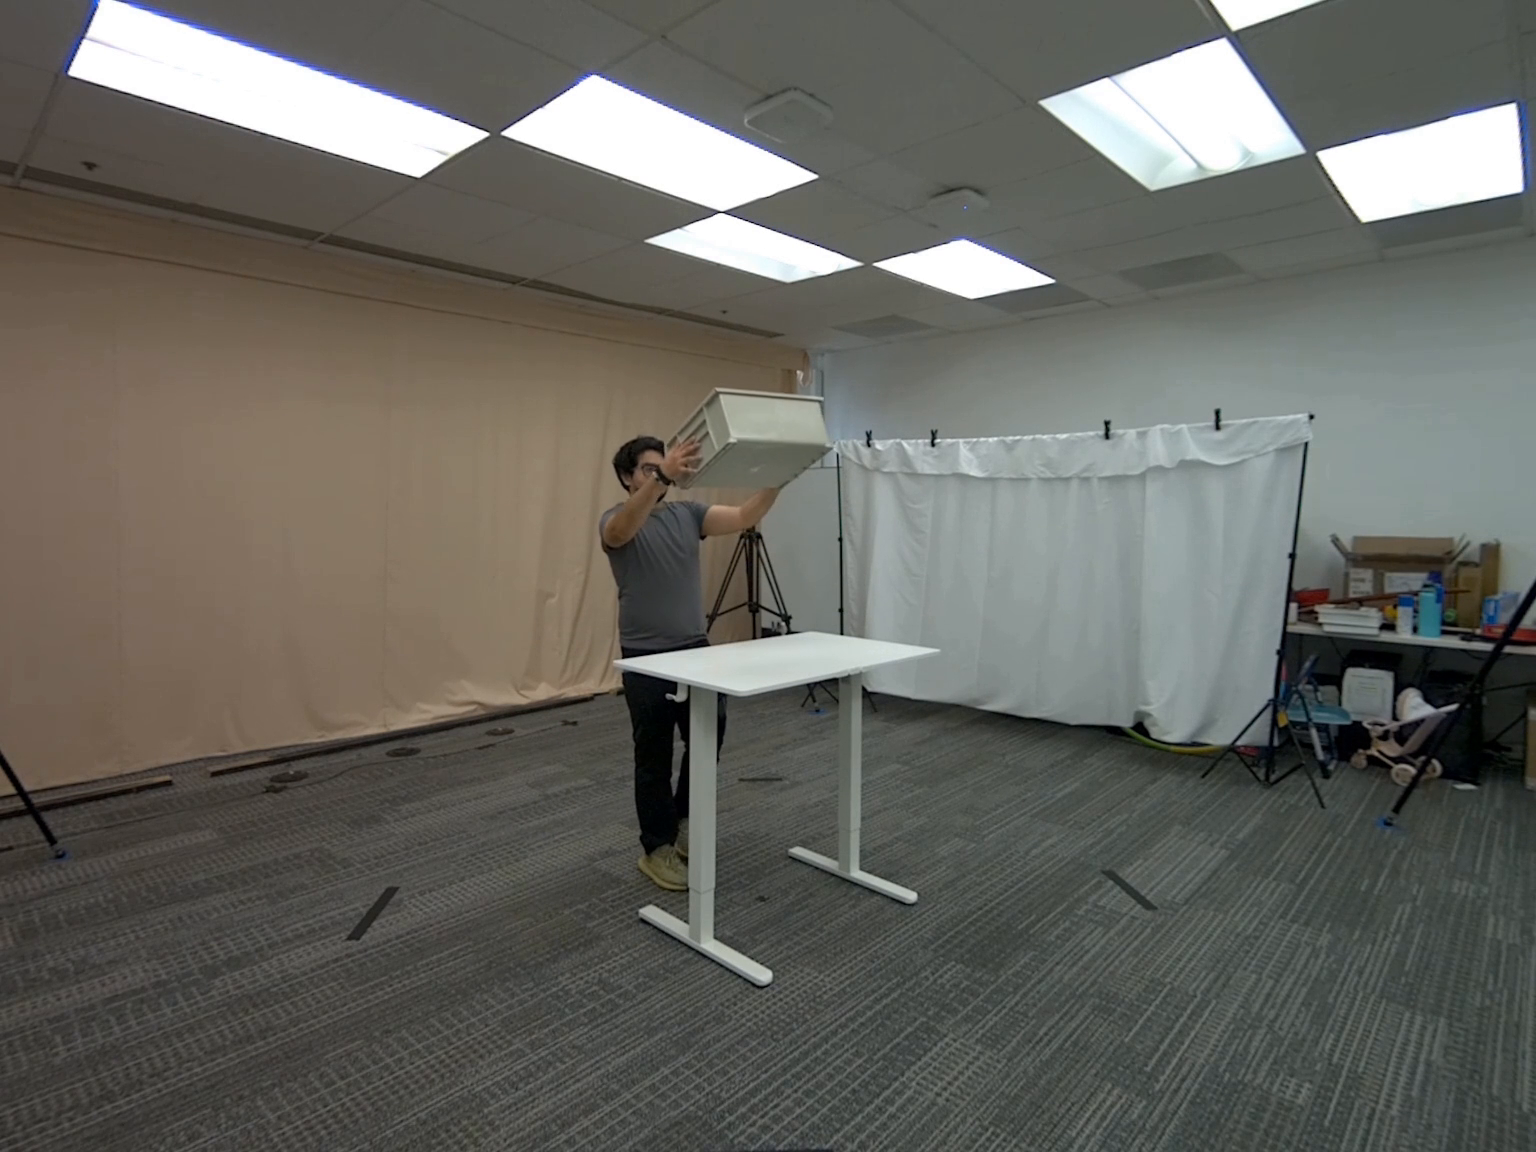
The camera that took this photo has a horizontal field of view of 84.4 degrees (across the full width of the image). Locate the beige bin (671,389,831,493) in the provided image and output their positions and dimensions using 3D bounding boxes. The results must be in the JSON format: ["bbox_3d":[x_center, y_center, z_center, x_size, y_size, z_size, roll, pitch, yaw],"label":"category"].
[{"bbox_3d":[-0.063,-0.416,2.749,0.410,0.192,0.383,-3,-20,-35],"label":"beige bin"}]
